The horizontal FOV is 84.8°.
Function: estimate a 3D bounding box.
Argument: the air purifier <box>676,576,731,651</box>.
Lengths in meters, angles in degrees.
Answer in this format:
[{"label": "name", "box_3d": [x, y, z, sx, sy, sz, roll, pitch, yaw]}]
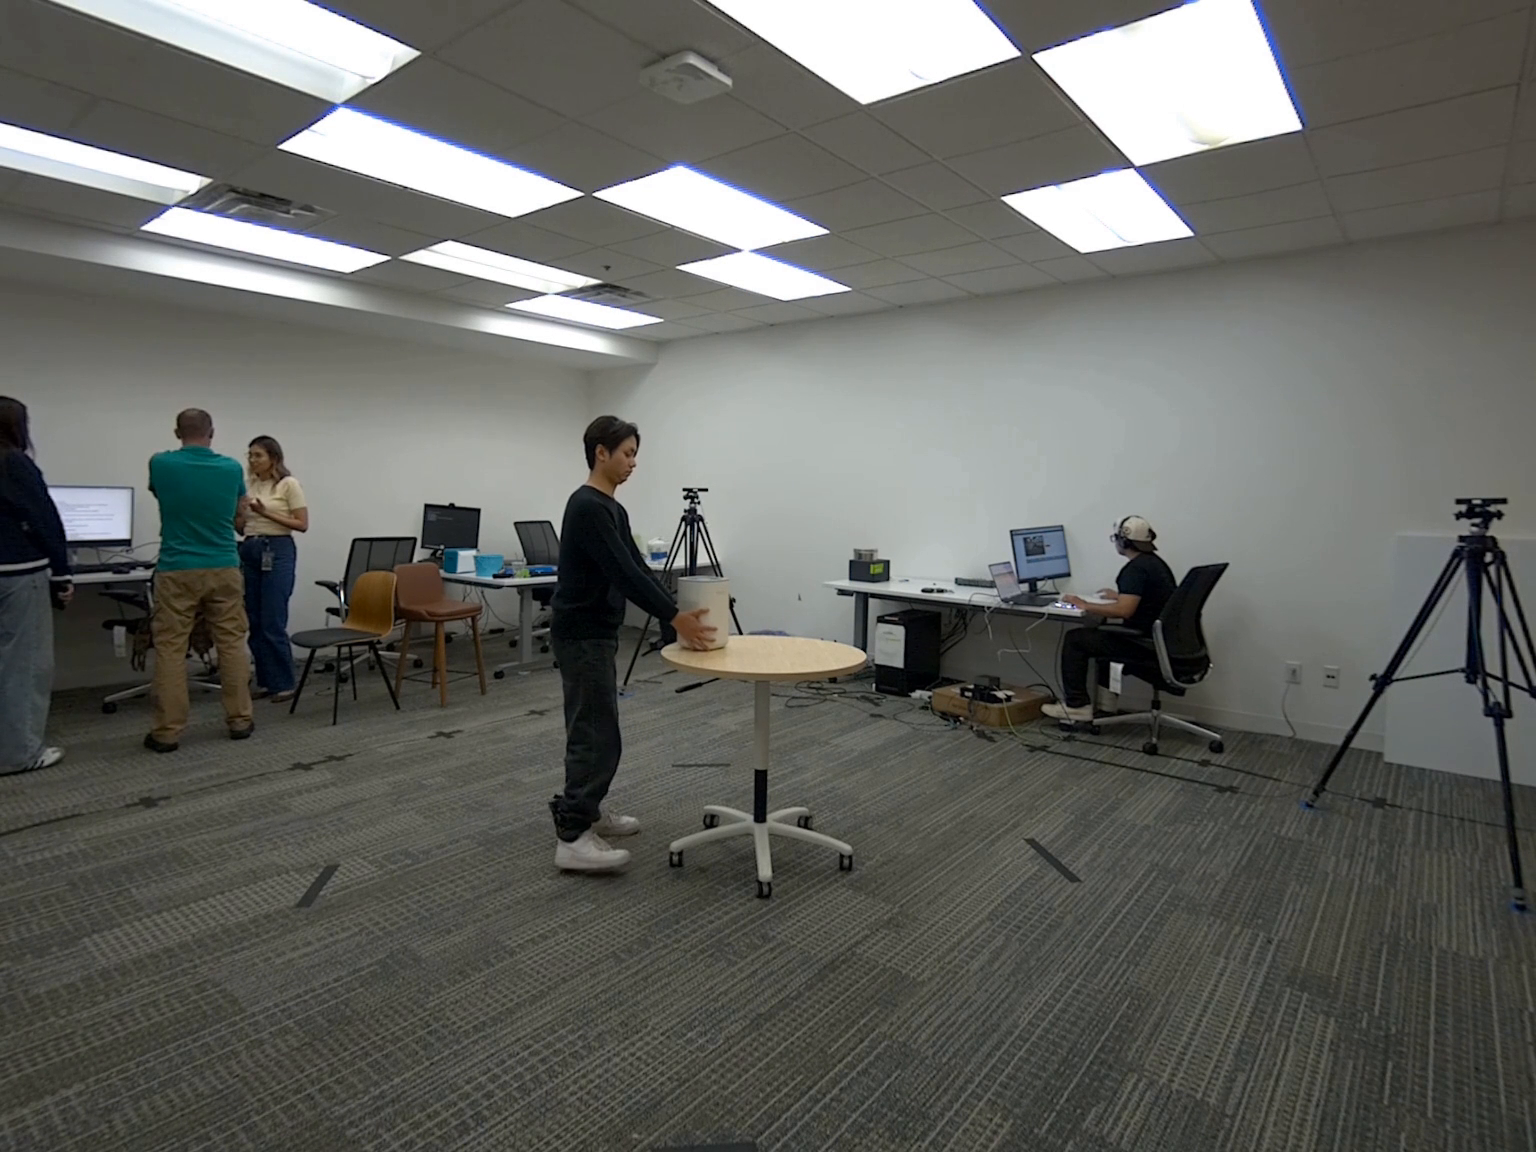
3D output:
[{"label": "air purifier", "box_3d": [-0.262, 0.140, 3.262, 0.177, 0.264, 0.166, 3, 4, 31]}]
